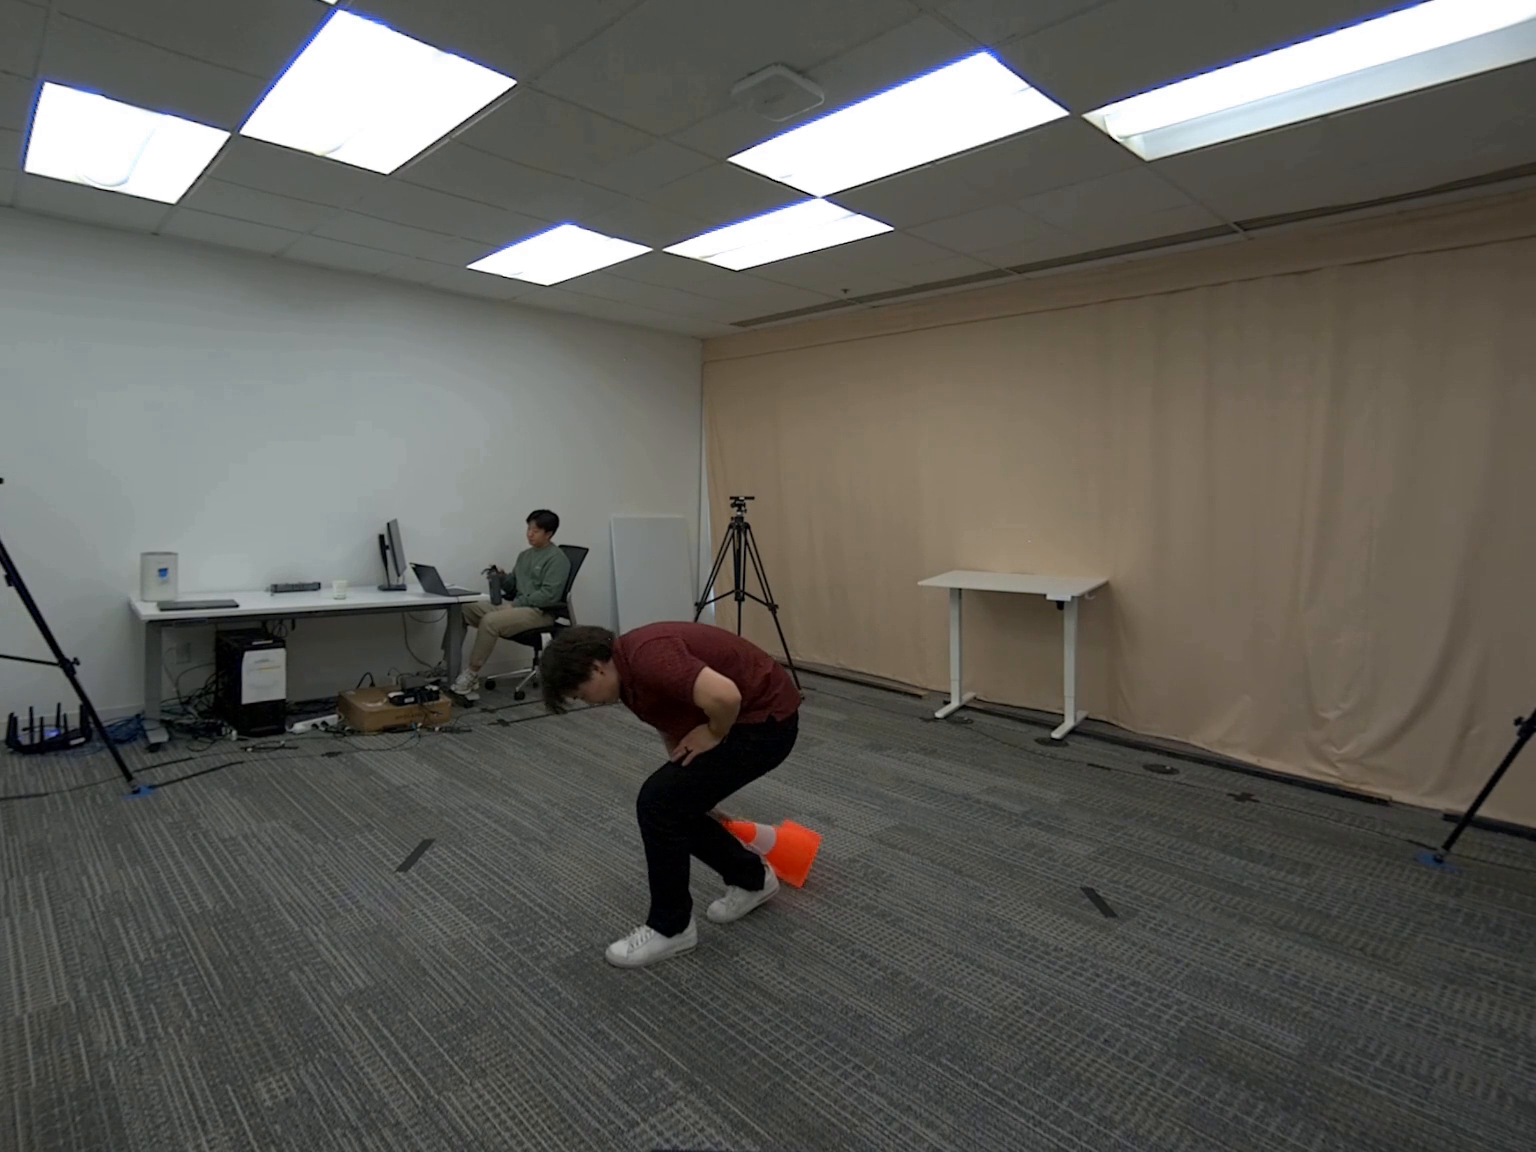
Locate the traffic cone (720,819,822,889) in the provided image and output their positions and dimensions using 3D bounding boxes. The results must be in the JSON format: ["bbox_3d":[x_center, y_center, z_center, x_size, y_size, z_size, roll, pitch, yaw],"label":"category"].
[{"bbox_3d":[-0.027,0.942,2.996,0.210,0.204,0.372,6,-22,47],"label":"traffic cone"}]
